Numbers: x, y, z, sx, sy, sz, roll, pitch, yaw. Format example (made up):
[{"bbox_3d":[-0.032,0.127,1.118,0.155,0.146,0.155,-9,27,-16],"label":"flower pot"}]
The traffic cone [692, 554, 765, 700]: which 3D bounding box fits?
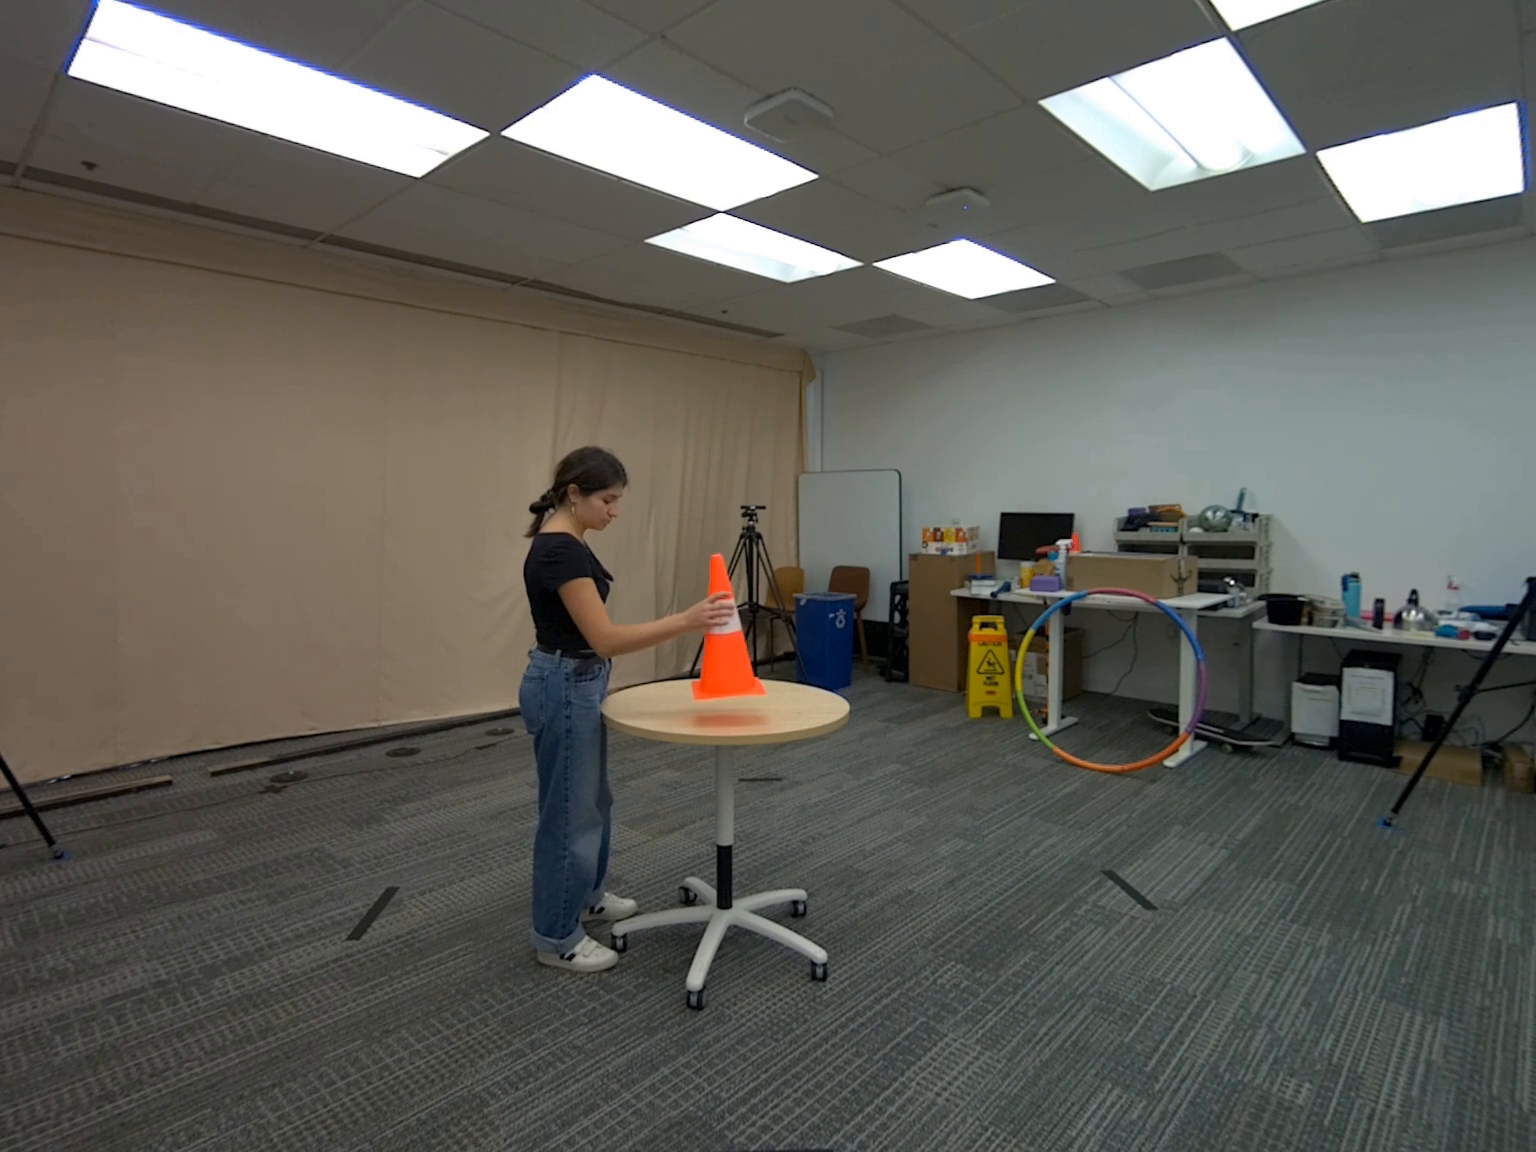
[{"bbox_3d":[-0.120,0.138,2.357,0.203,0.383,0.205,-3,4,-8],"label":"traffic cone"}]
